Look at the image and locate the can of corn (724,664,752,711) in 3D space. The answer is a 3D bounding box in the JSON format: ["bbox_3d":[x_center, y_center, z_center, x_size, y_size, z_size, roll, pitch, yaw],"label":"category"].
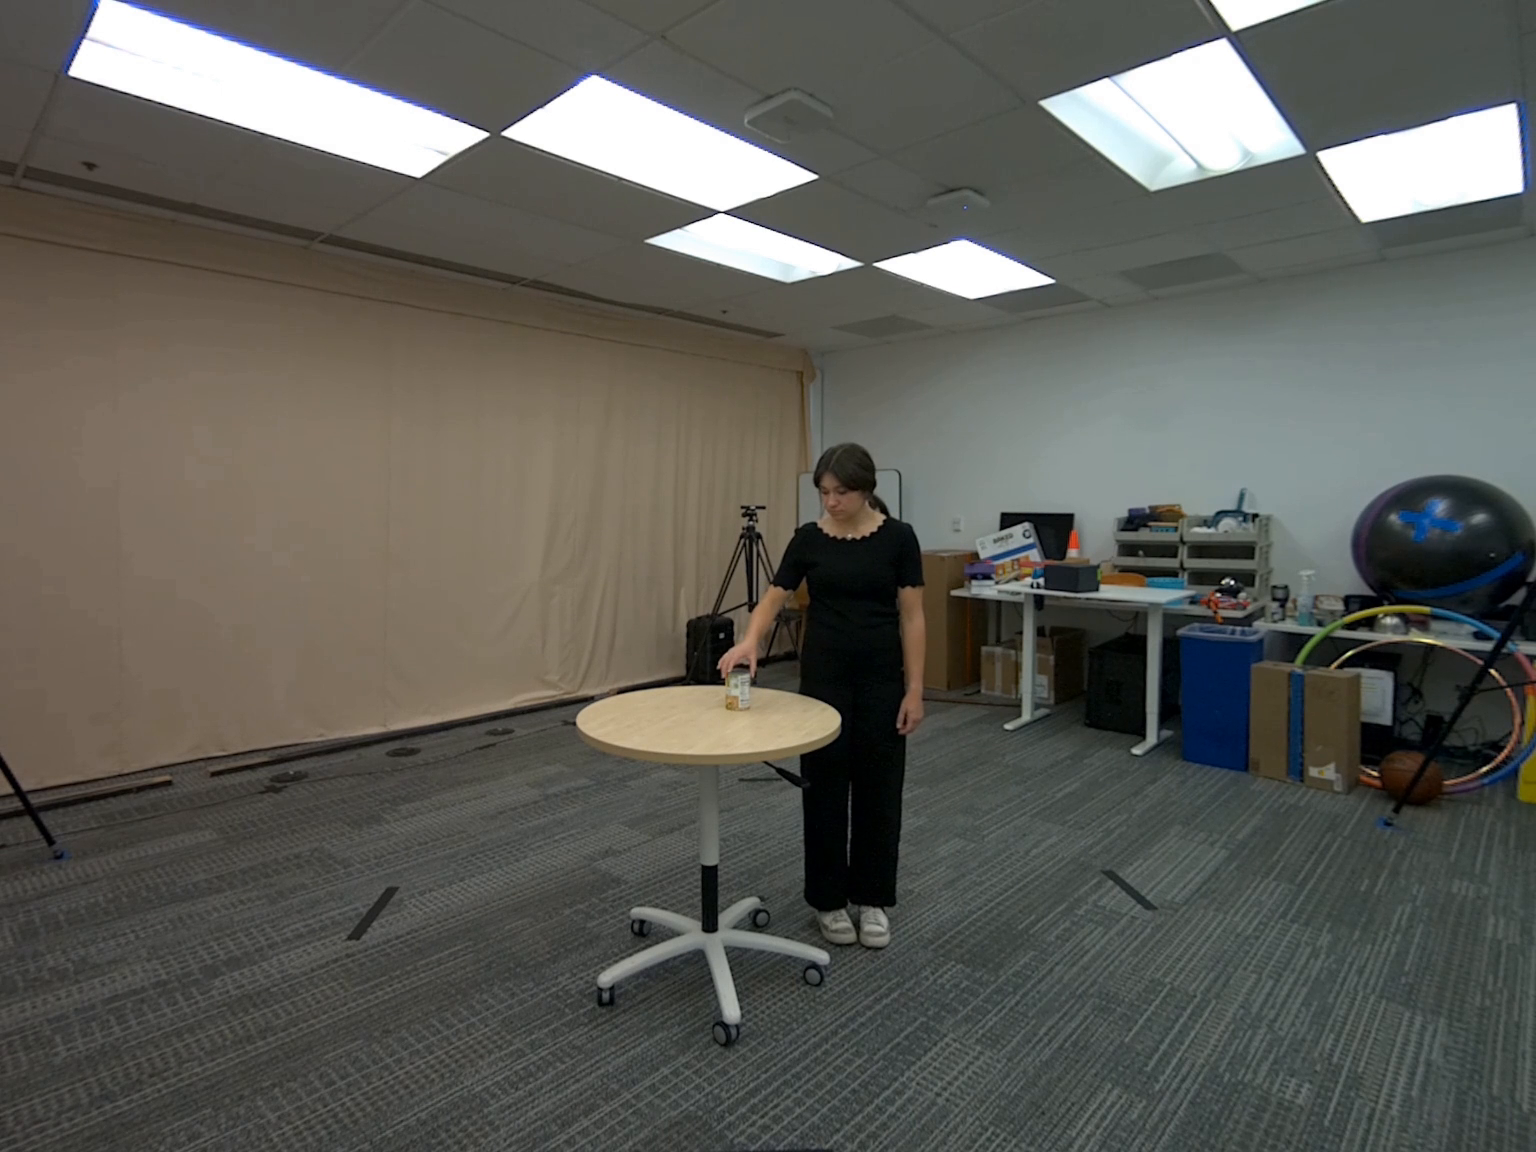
[{"bbox_3d":[-0.090,0.343,2.525,0.074,0.111,0.074,0,3,-2],"label":"can of corn"}]
